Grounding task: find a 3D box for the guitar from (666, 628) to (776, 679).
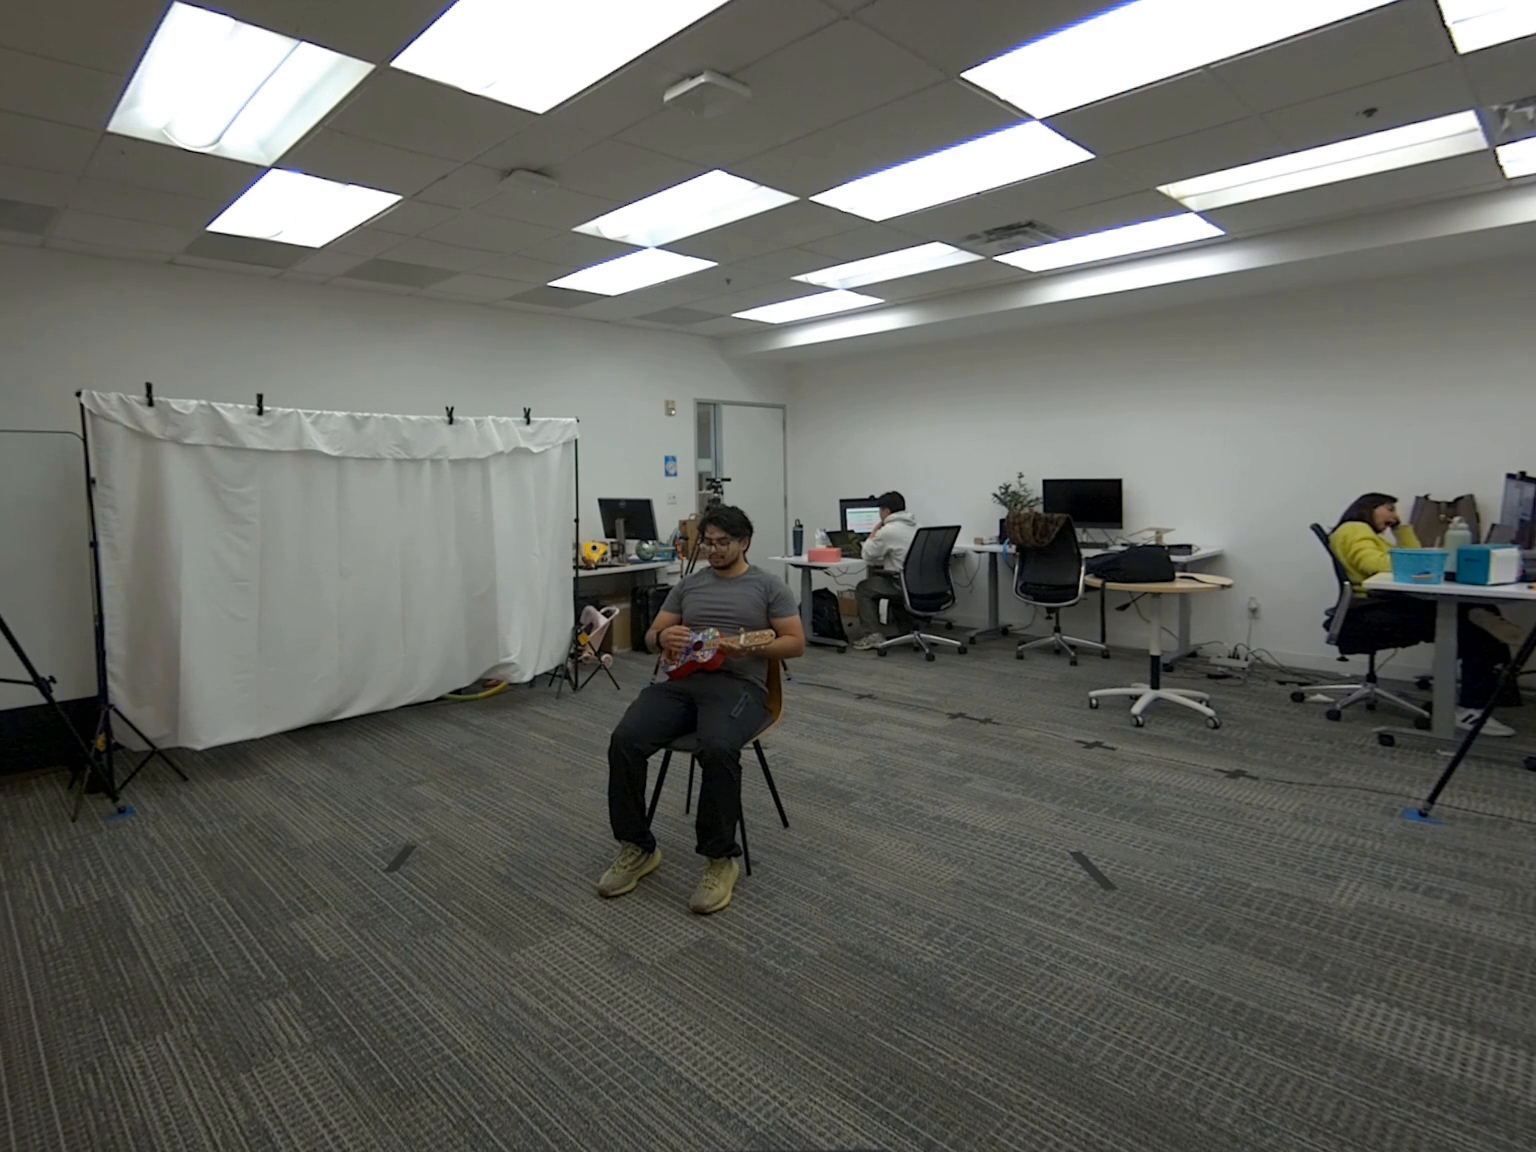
[{"bbox_3d":[-0.200,0.286,3.126,0.511,0.195,0.068,-2,-36,37],"label":"guitar"}]
